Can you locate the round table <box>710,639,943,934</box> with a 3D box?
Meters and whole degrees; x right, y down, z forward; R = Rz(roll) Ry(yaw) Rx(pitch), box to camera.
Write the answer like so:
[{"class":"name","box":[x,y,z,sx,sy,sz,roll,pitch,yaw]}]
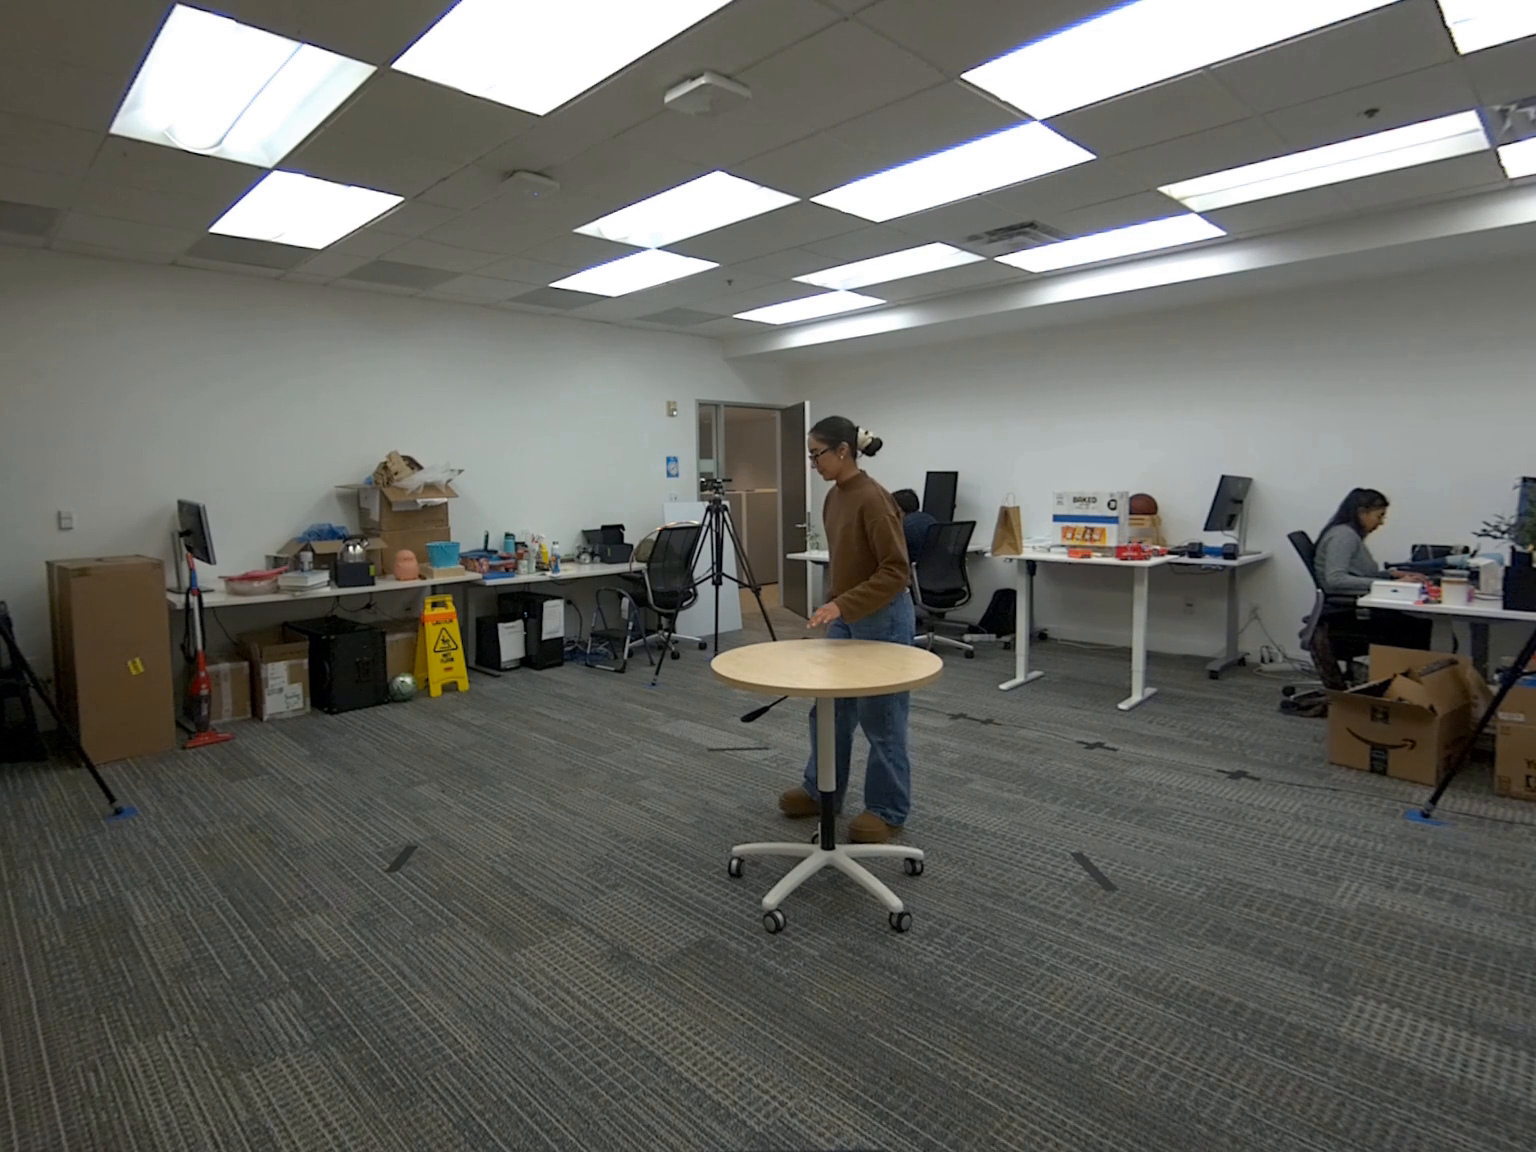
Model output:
[{"class":"round table","box":[0.204,0.677,2.885,0.763,0.791,0.768,-1,5,-2]}]
